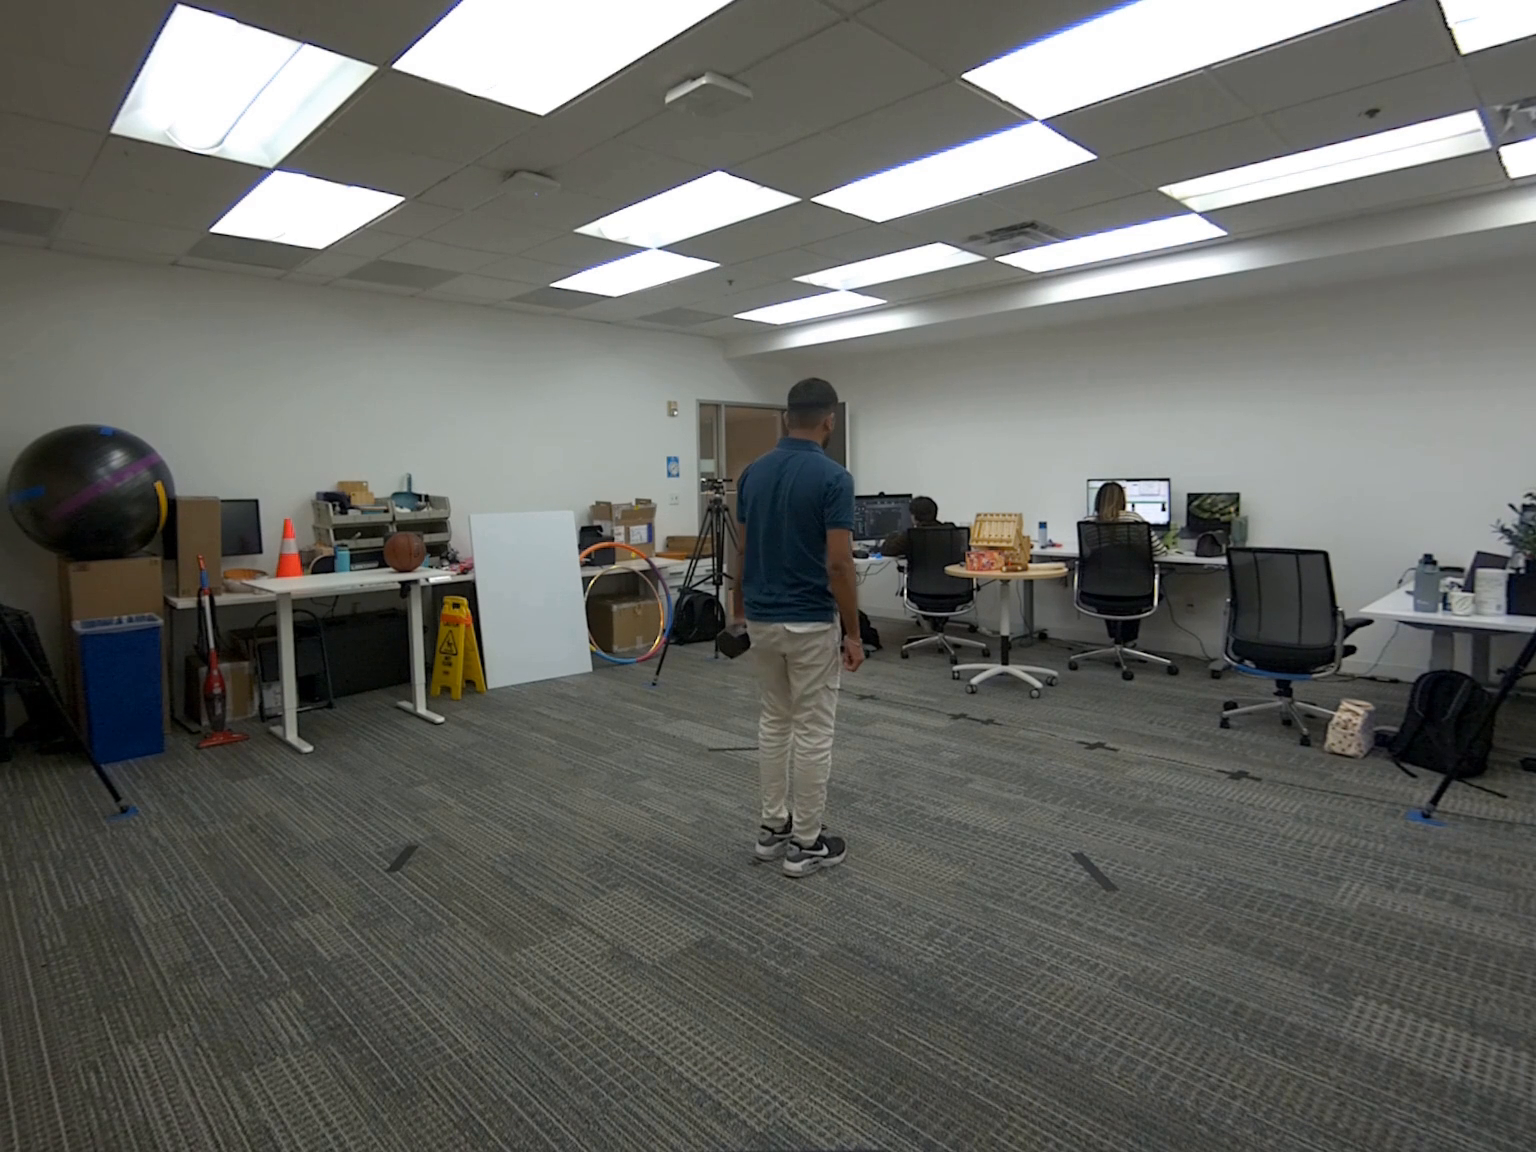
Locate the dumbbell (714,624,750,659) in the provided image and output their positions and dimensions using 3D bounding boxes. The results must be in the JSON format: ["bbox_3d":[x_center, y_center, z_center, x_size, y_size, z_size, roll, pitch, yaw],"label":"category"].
[{"bbox_3d":[-0.064,0.221,3.265,0.111,0.122,0.288,-3,11,34],"label":"dumbbell"}]
